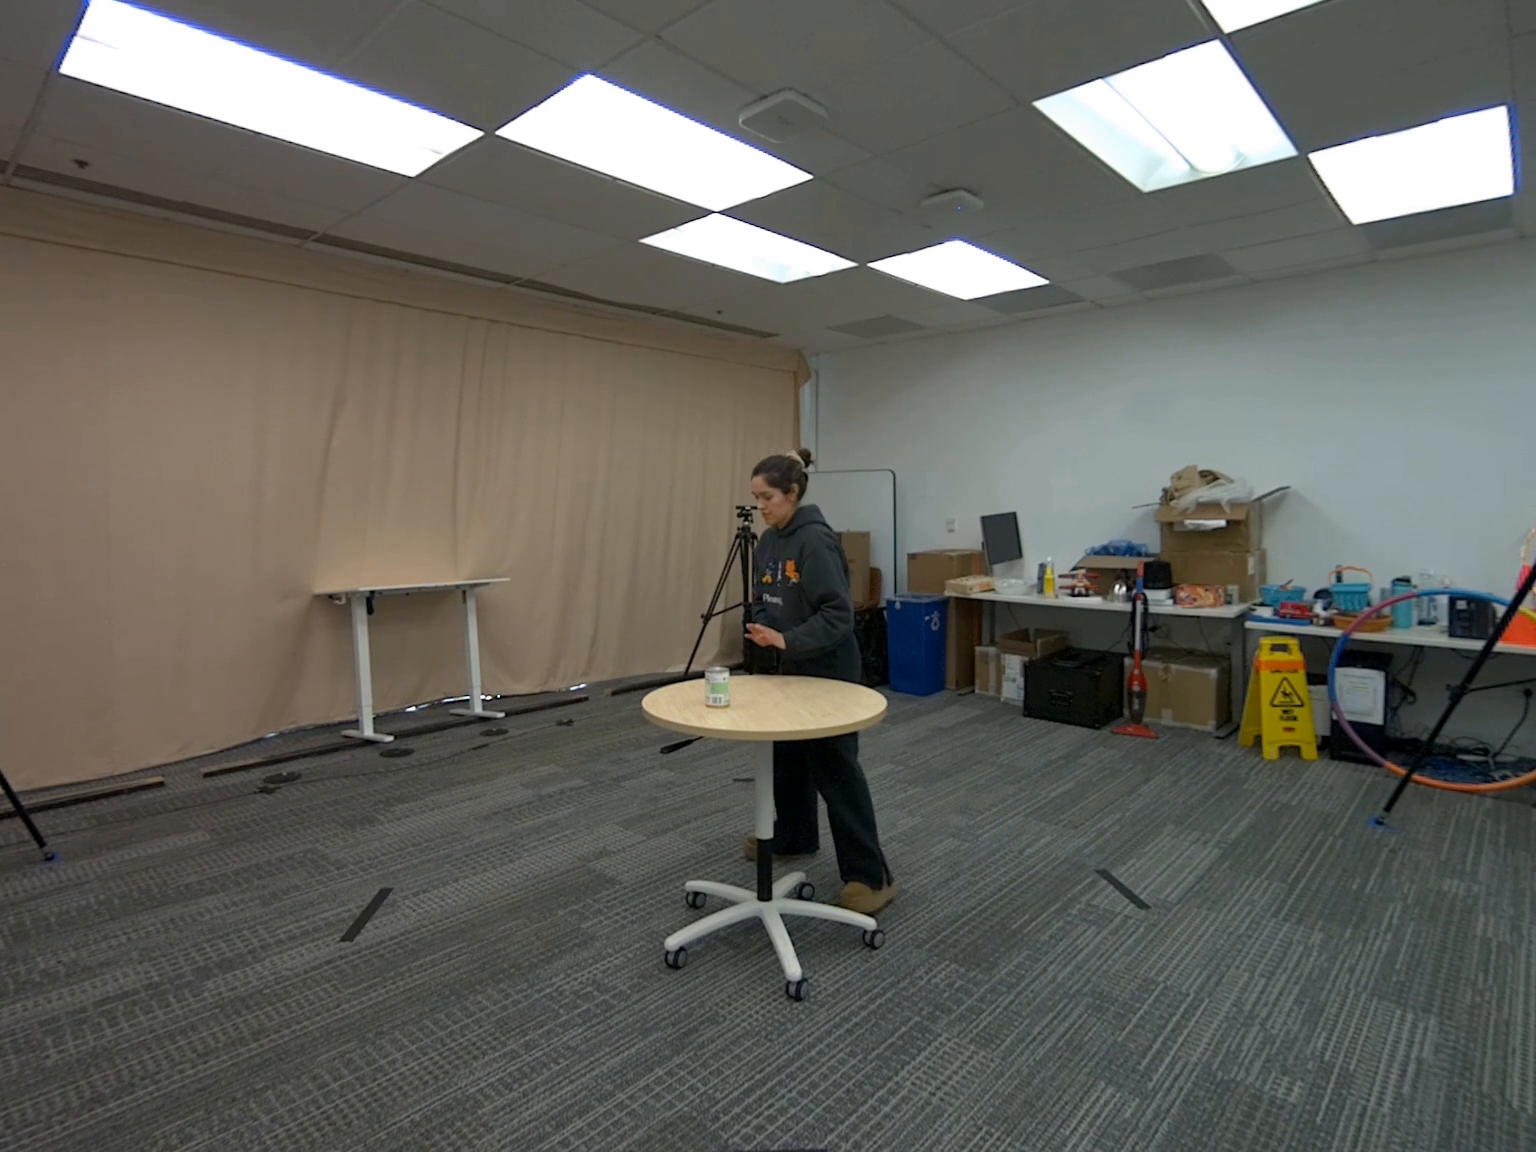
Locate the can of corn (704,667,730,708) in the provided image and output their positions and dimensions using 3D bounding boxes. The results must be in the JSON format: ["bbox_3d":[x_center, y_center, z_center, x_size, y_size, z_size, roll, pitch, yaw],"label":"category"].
[{"bbox_3d":[-0.141,0.338,2.568,0.074,0.111,0.074,-1,3,-2],"label":"can of corn"}]
